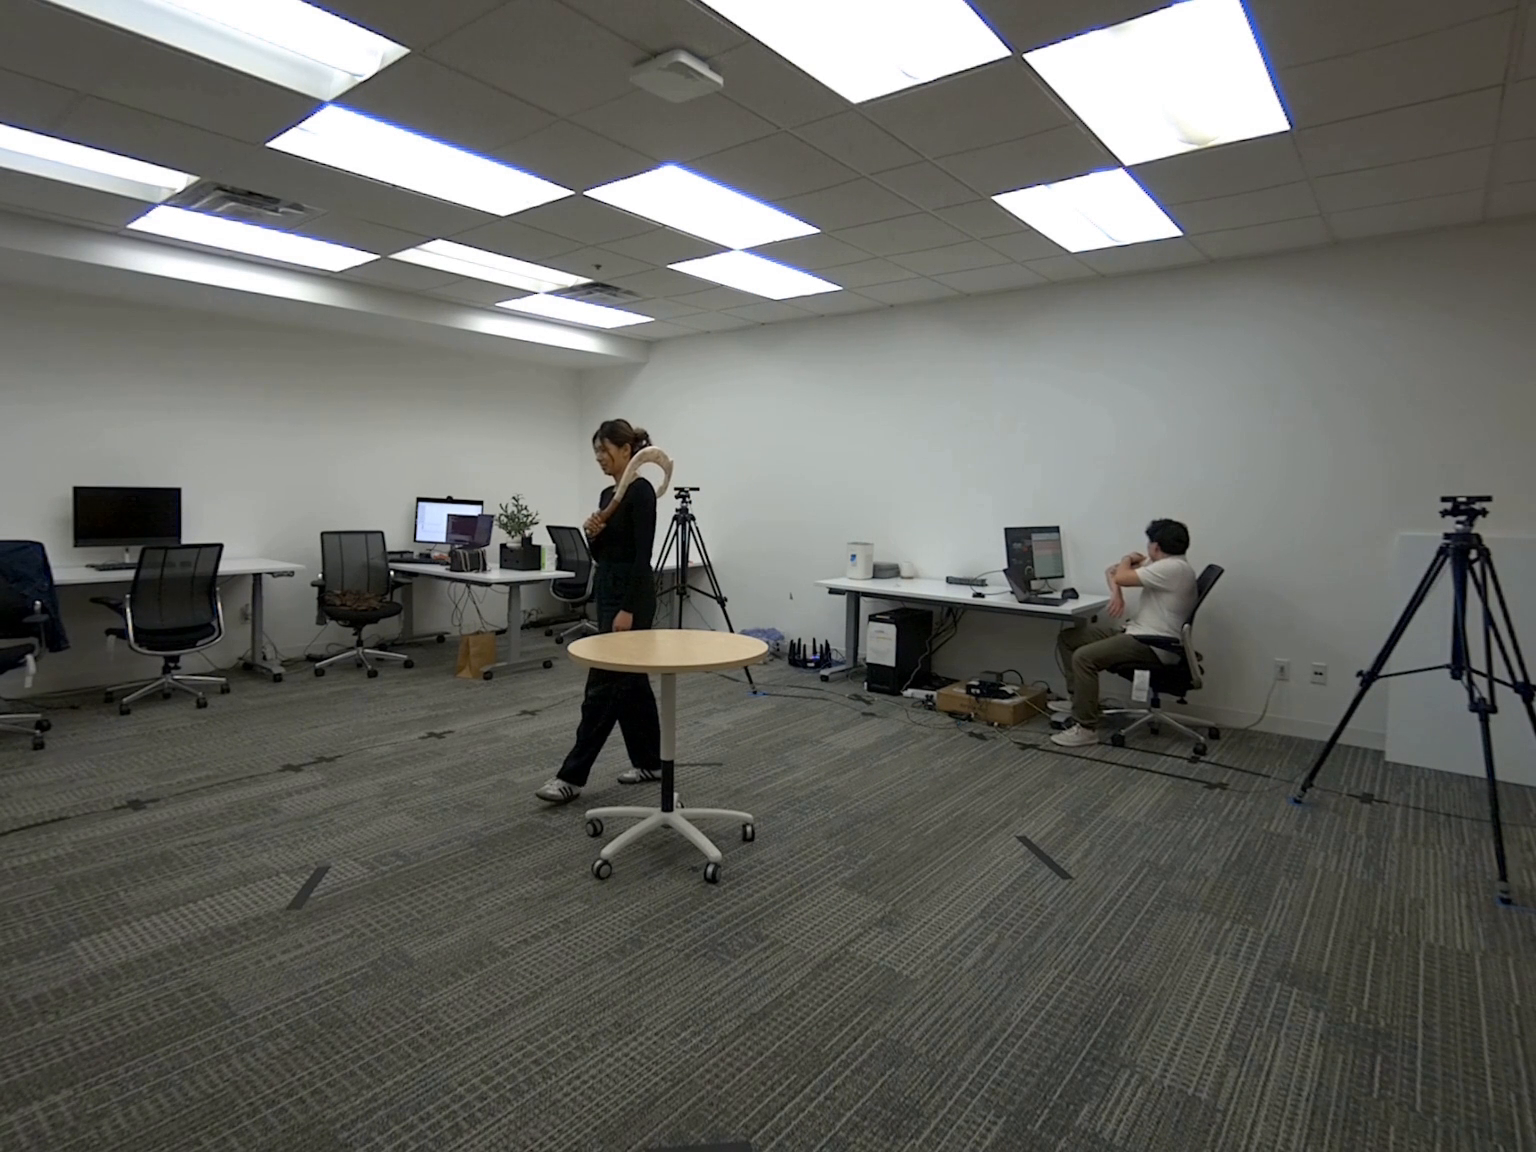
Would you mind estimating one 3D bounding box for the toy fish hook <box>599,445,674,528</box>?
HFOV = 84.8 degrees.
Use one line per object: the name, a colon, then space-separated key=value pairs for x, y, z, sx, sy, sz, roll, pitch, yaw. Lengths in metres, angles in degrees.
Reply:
toy fish hook: x=-0.633 y=-0.360 z=3.845 sx=0.218 sy=0.507 sz=0.050 roll=40 pitch=-4 yaw=-22
